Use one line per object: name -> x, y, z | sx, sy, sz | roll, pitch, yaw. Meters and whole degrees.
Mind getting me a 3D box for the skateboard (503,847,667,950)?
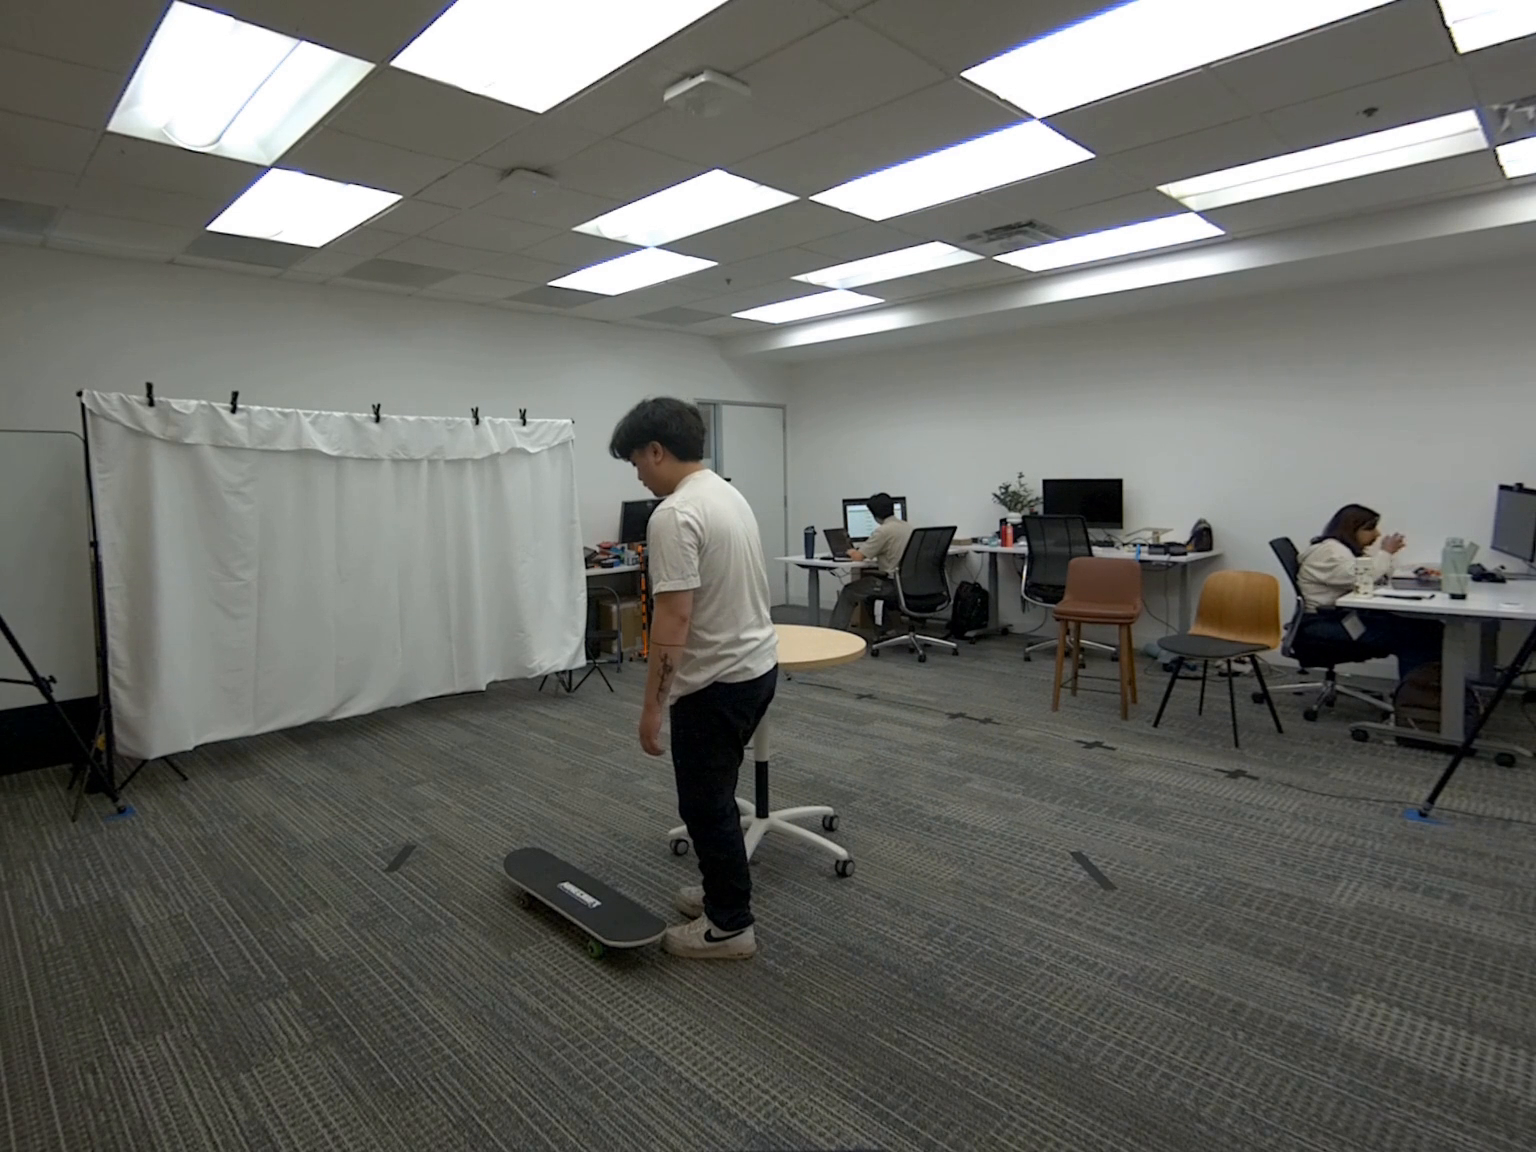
skateboard -> -0.597, 1.051, 2.703 | 0.188, 0.110, 0.810 | -7, 9, -44
